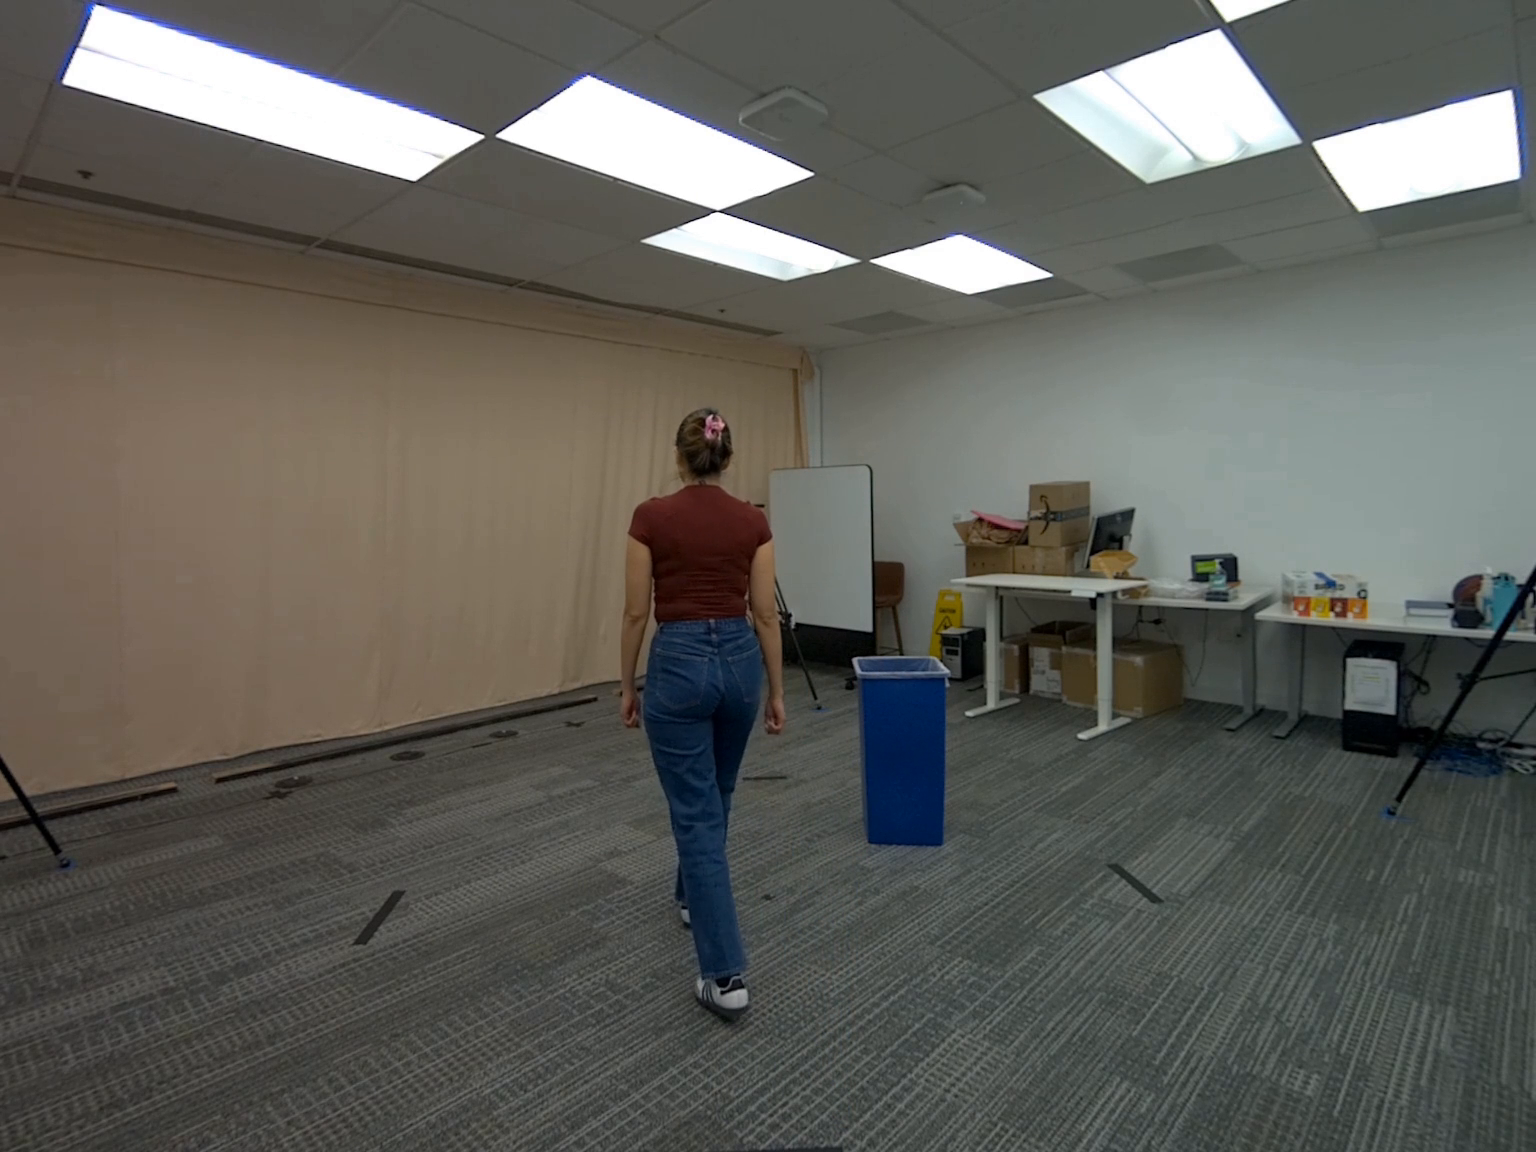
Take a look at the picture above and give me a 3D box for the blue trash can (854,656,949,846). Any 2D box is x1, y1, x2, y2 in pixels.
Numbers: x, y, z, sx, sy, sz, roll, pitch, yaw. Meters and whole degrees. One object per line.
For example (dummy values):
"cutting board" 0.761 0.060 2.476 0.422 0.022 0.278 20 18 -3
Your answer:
"blue trash can" 0.558 0.726 3.547 0.376 0.712 0.377 0 3 4
